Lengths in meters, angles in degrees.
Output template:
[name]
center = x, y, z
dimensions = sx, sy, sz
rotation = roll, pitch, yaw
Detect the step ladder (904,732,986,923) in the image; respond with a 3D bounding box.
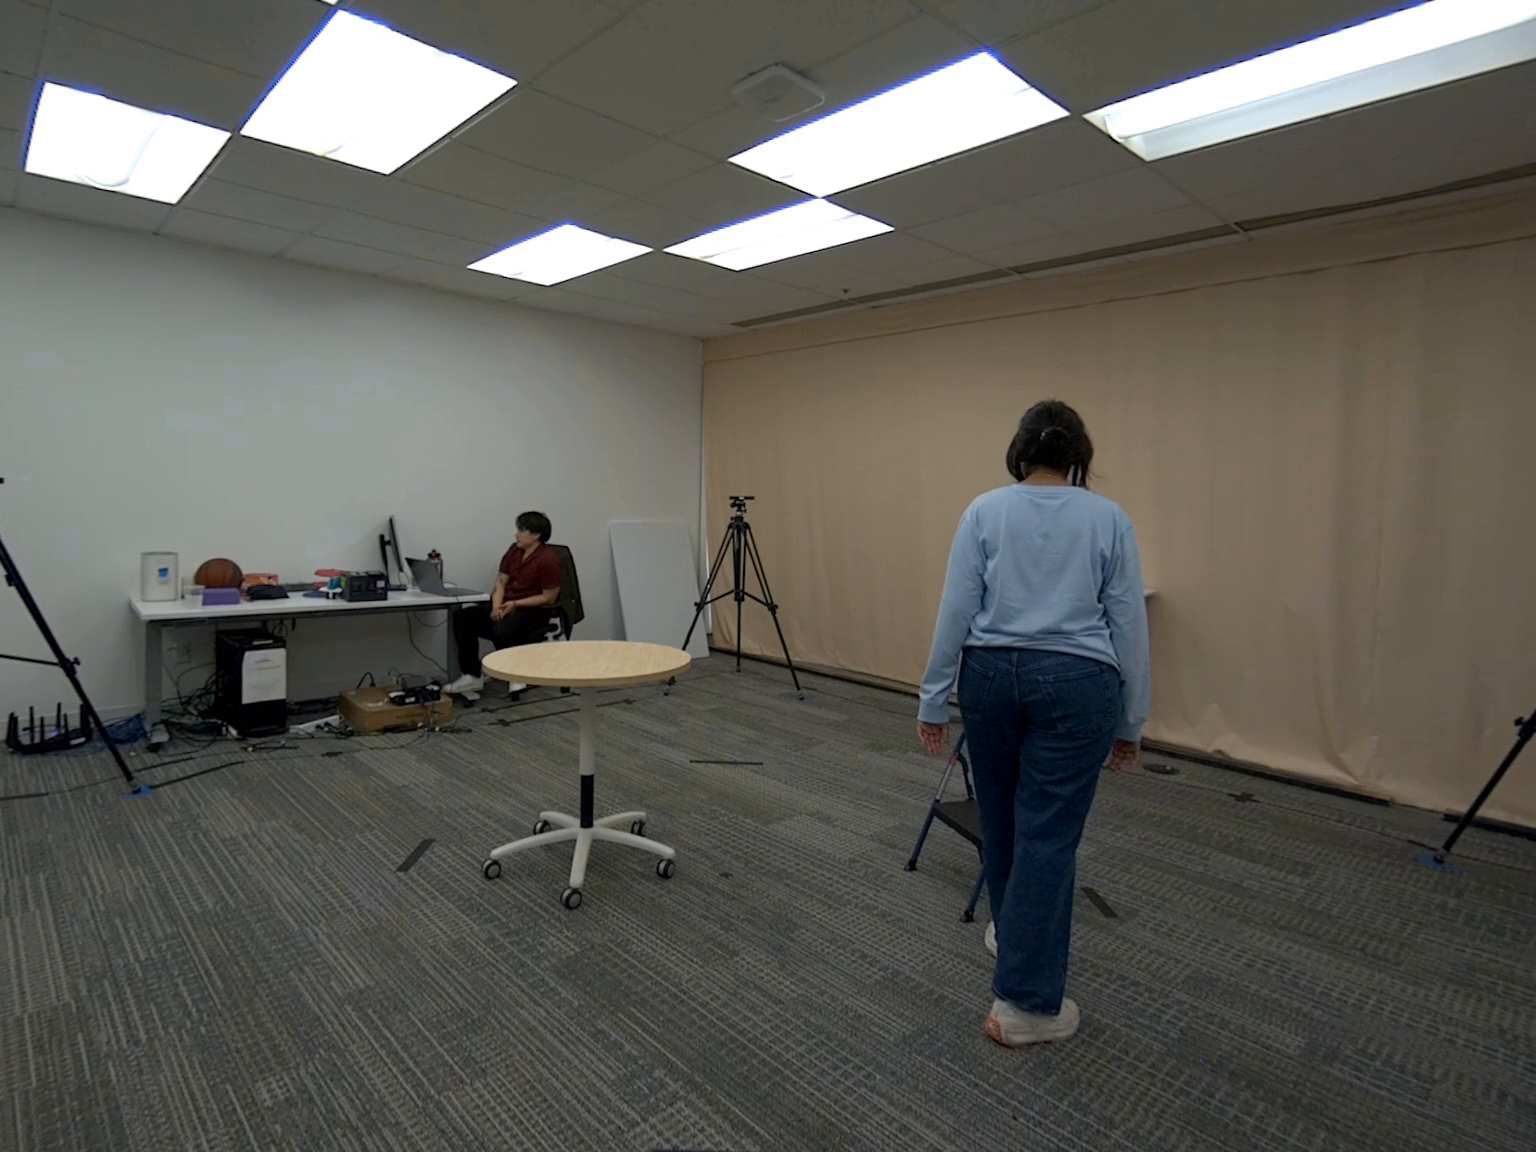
[step ladder]
center = 0.749, 0.834, 3.024
dimensions = 0.344, 0.604, 0.438
rotation = 1, 5, -18
